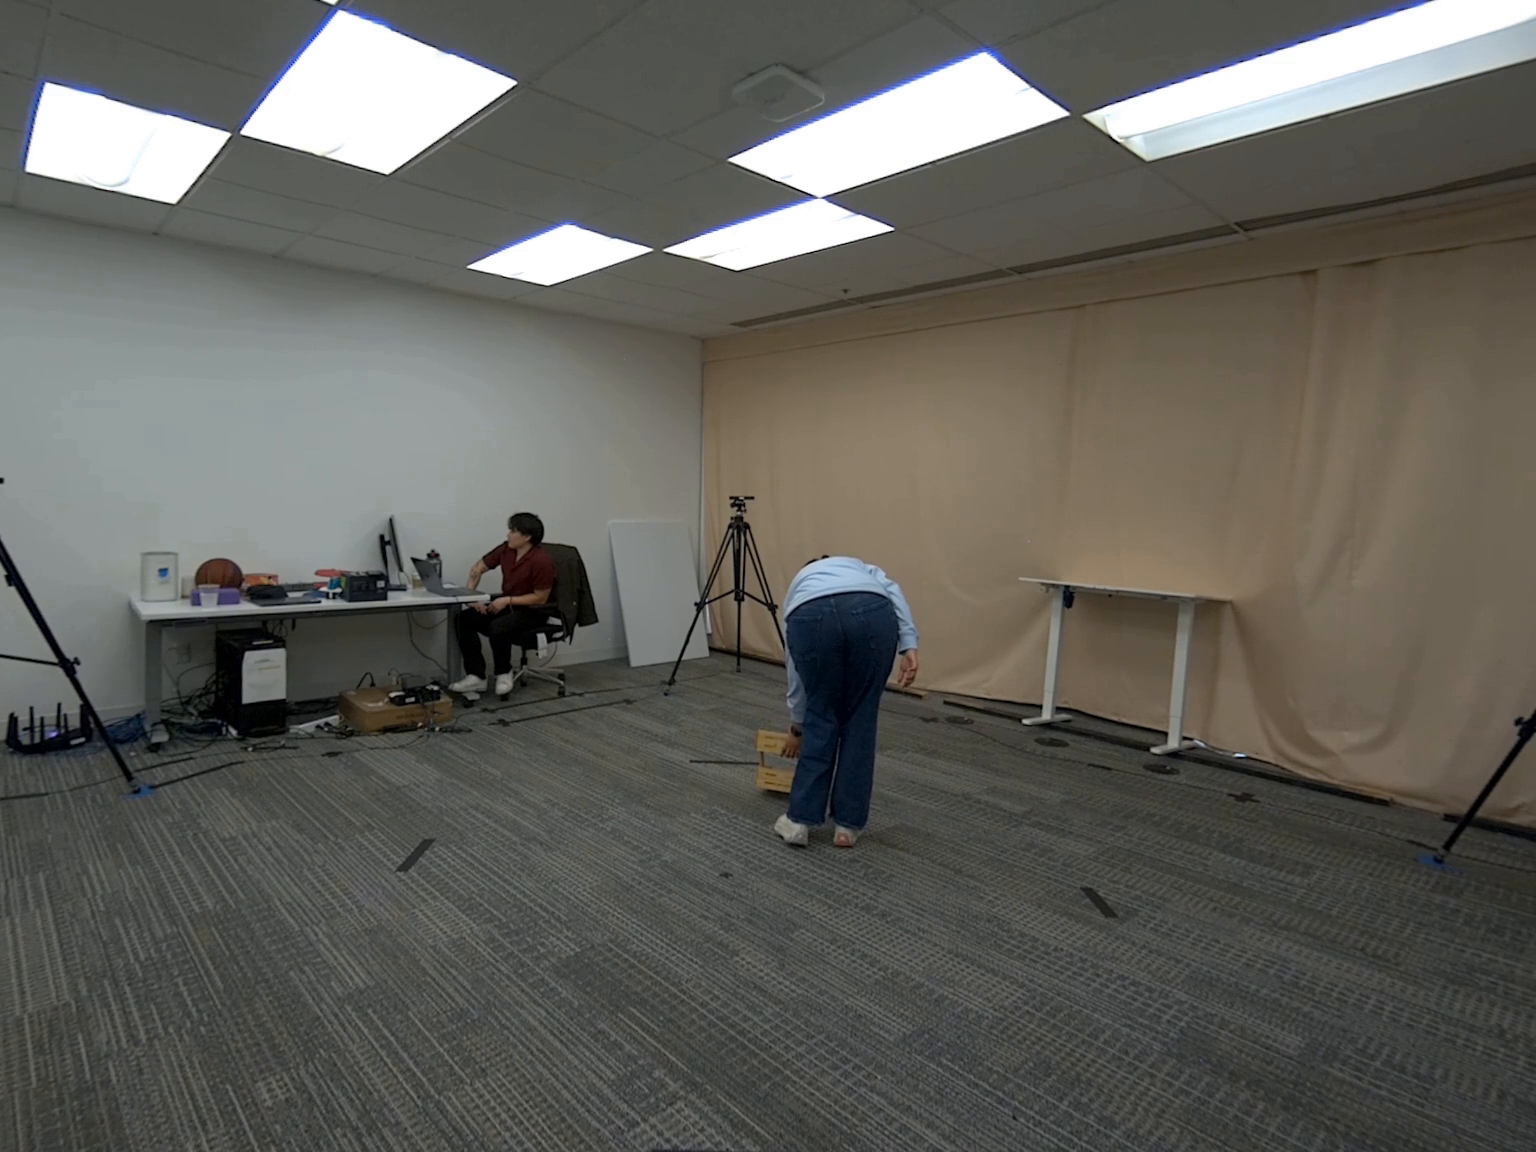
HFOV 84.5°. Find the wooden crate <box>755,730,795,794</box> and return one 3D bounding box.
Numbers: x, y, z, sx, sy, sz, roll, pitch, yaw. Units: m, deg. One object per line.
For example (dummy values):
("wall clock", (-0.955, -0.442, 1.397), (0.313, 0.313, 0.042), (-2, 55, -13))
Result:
("wooden crate", (0.111, 0.876, 3.989), (0.330, 0.275, 0.295), (4, -7, 22))
